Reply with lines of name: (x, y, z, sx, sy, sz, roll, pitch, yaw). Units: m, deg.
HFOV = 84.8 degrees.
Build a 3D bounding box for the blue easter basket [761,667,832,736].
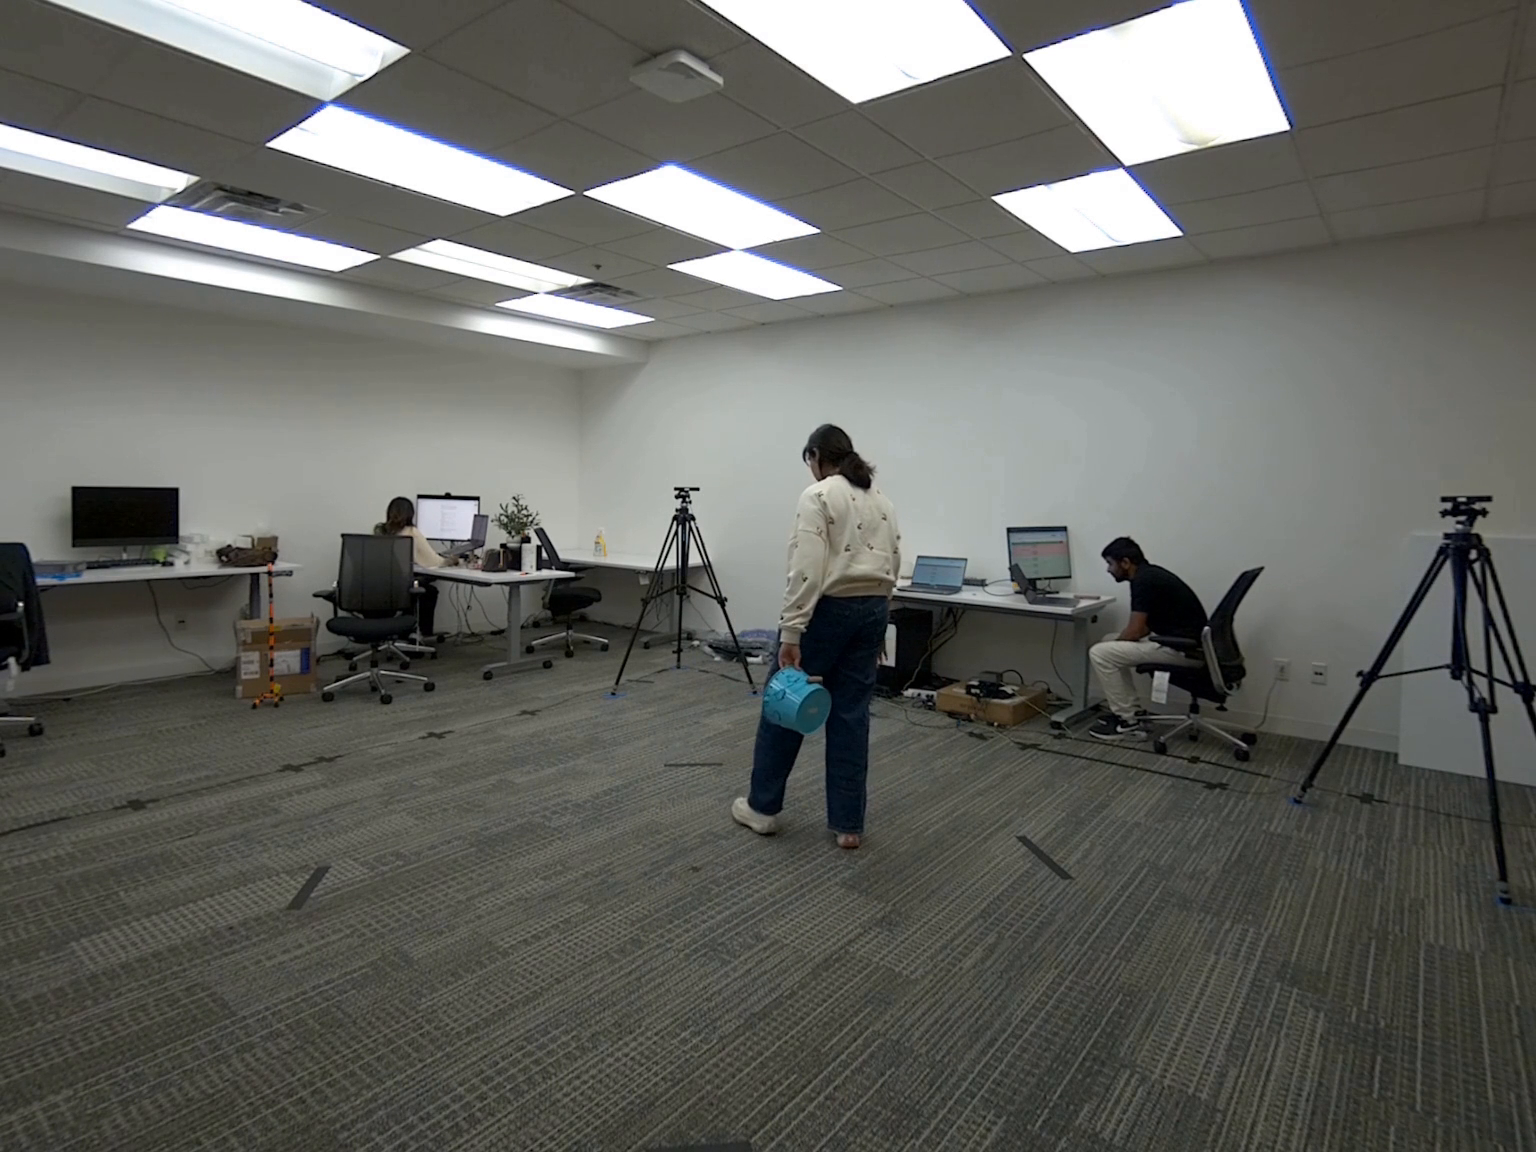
blue easter basket: (0.078, 0.457, 3.121, 0.236, 0.241, 0.162, -2, 16, -40)
